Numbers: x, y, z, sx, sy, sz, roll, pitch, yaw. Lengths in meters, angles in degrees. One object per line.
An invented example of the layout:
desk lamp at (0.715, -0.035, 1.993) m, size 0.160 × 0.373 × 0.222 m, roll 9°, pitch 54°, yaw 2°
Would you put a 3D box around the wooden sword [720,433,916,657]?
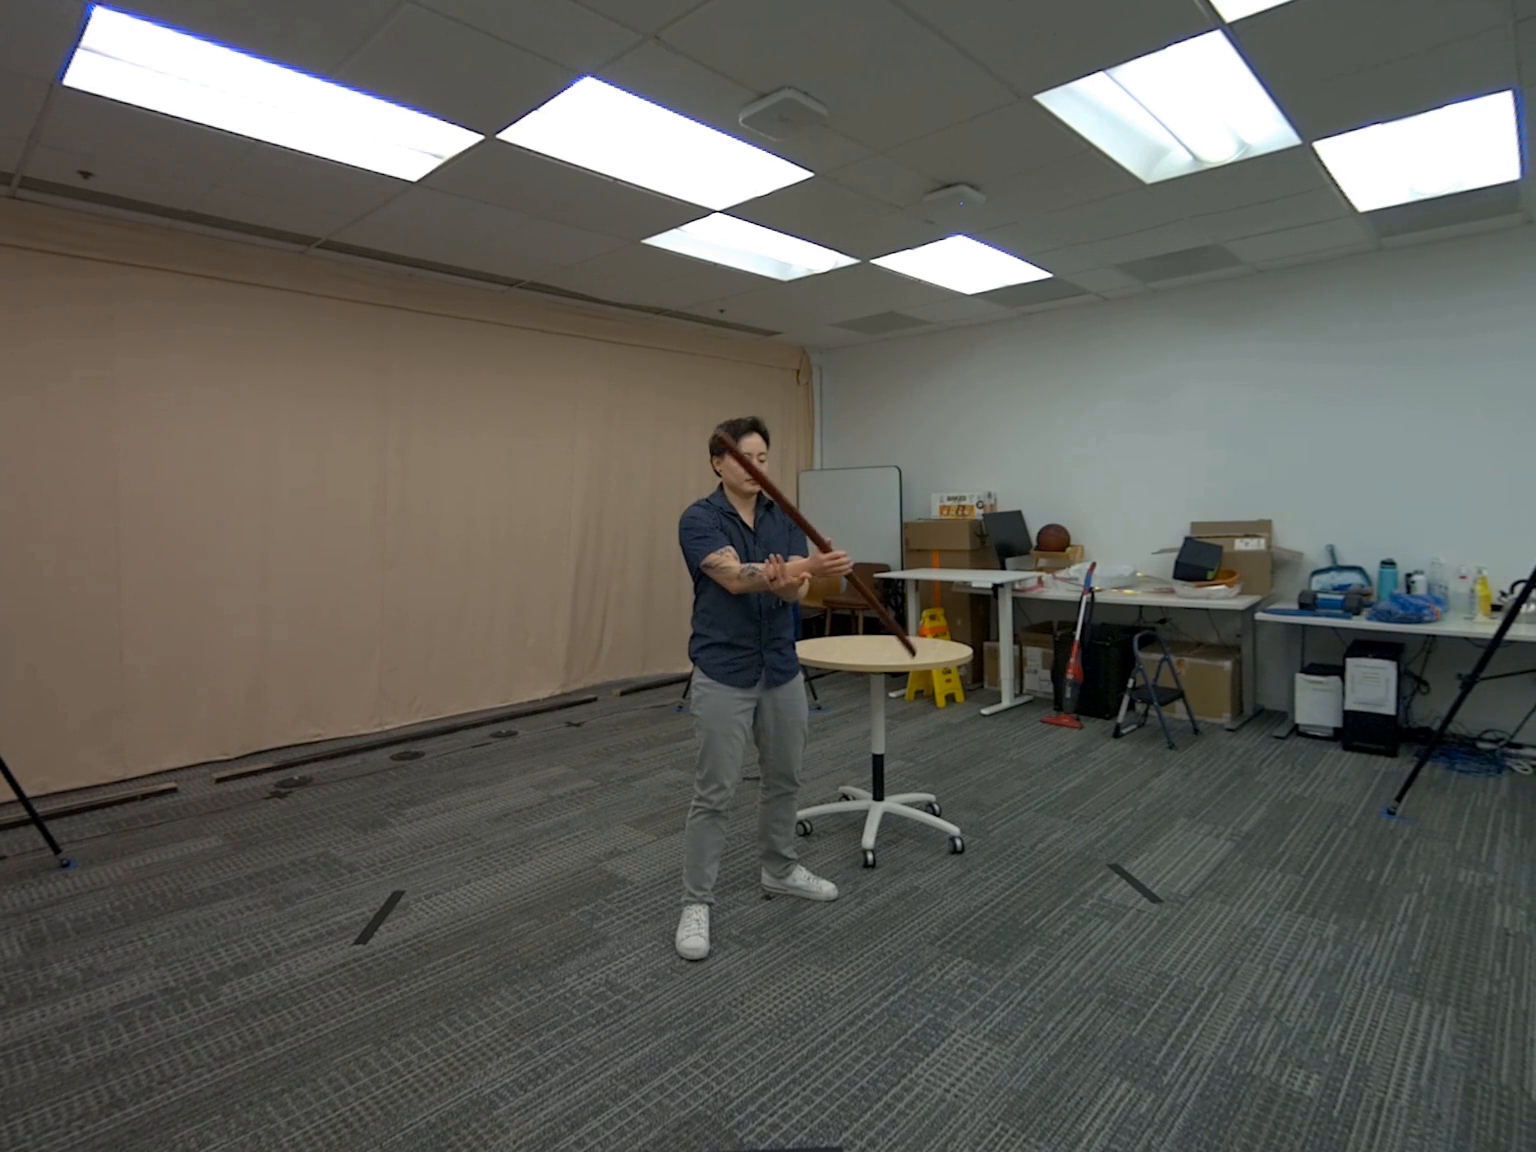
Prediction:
wooden sword at (0.180, -0.068, 2.499) m, size 0.053 × 0.024 × 0.996 m, roll -6°, pitch -46°, yaw 51°
